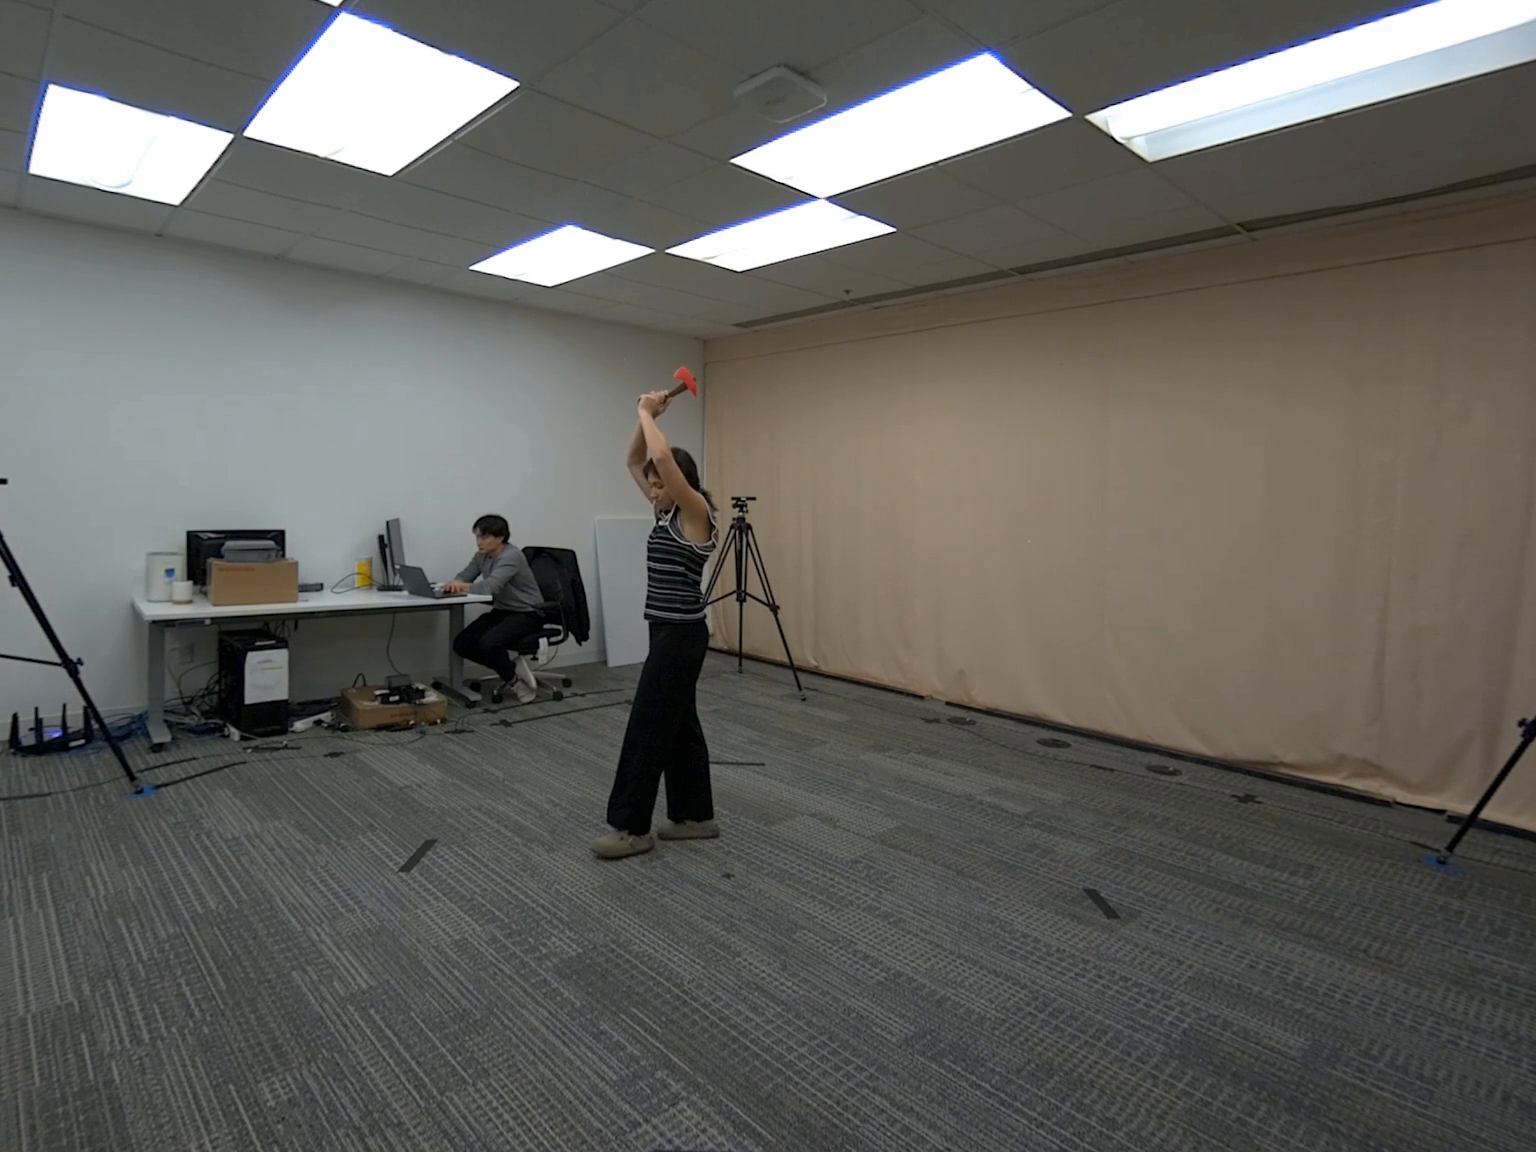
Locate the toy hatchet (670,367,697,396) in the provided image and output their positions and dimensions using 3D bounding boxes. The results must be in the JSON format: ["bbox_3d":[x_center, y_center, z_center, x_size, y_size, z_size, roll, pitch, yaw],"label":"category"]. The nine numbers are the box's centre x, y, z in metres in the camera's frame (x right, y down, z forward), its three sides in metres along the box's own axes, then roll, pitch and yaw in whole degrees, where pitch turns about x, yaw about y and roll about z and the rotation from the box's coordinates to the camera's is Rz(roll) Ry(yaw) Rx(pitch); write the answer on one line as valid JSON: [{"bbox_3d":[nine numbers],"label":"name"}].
[{"bbox_3d":[-0.412,-0.746,3.305,0.266,0.129,0.030,-18,20,-29],"label":"toy hatchet"}]
